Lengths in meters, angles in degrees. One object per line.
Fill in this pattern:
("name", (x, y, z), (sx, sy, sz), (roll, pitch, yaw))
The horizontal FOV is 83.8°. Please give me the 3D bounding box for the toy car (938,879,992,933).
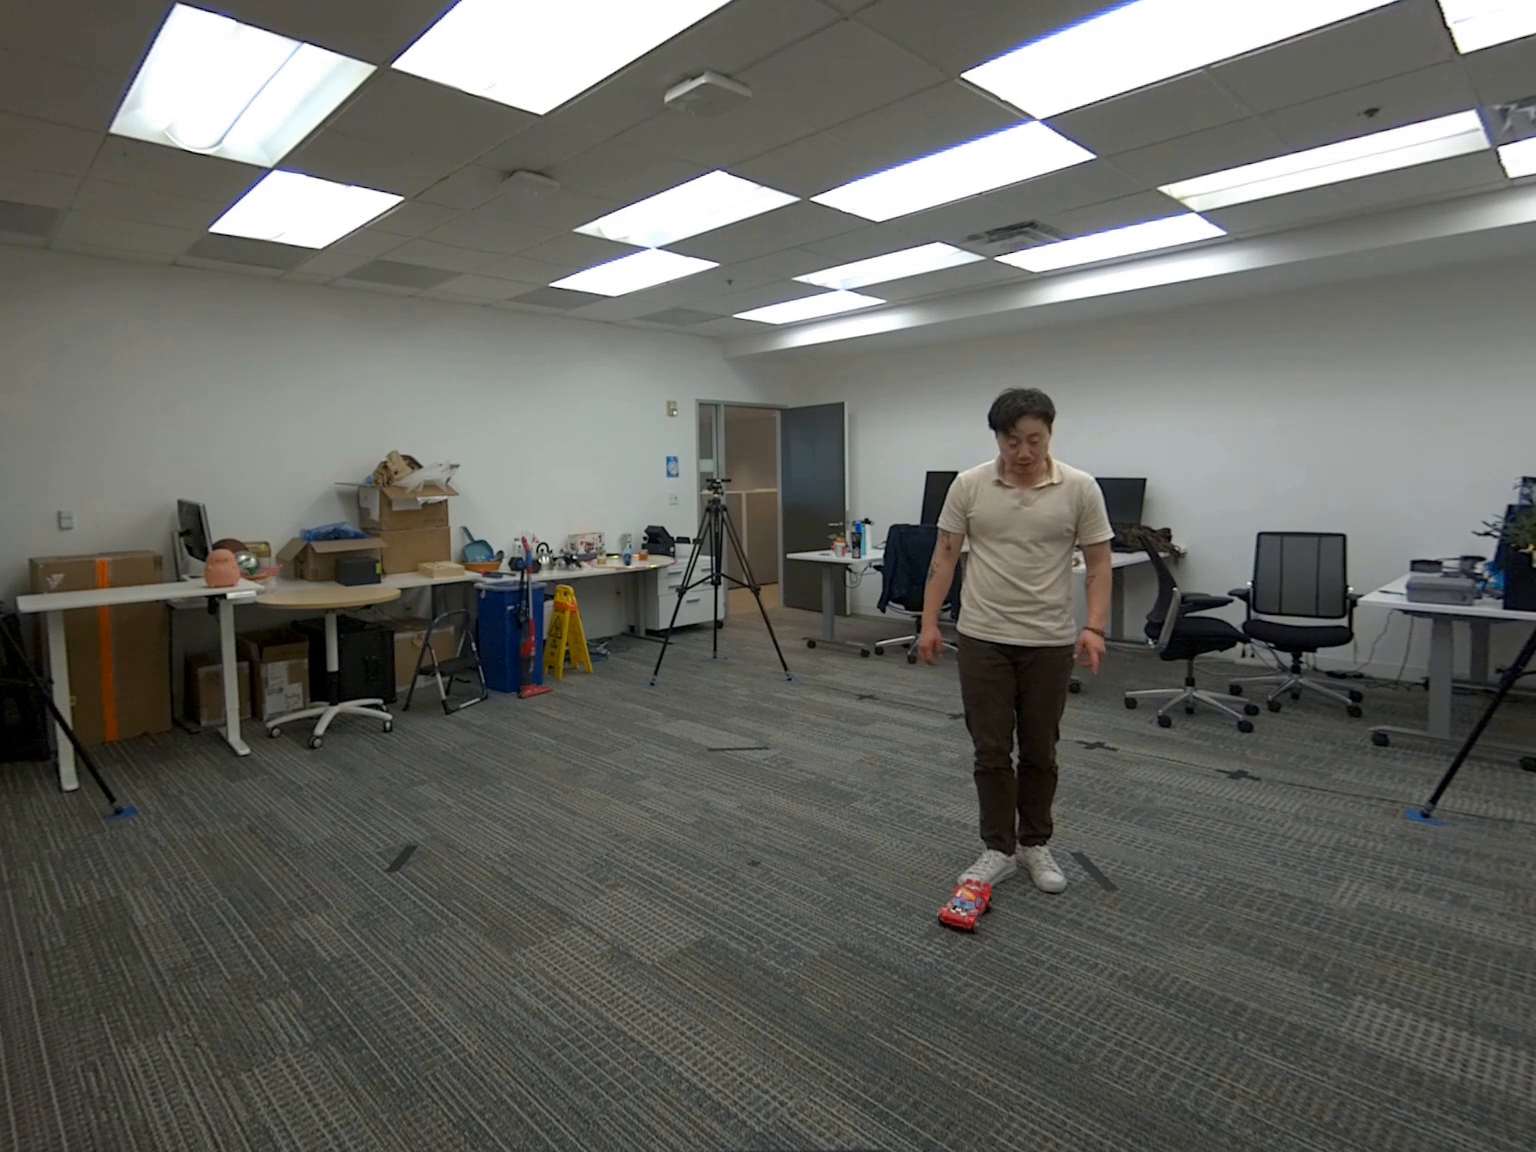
("toy car", (0.642, 1.046, 2.714), (0.134, 0.082, 0.251), (2, 17, 32))
